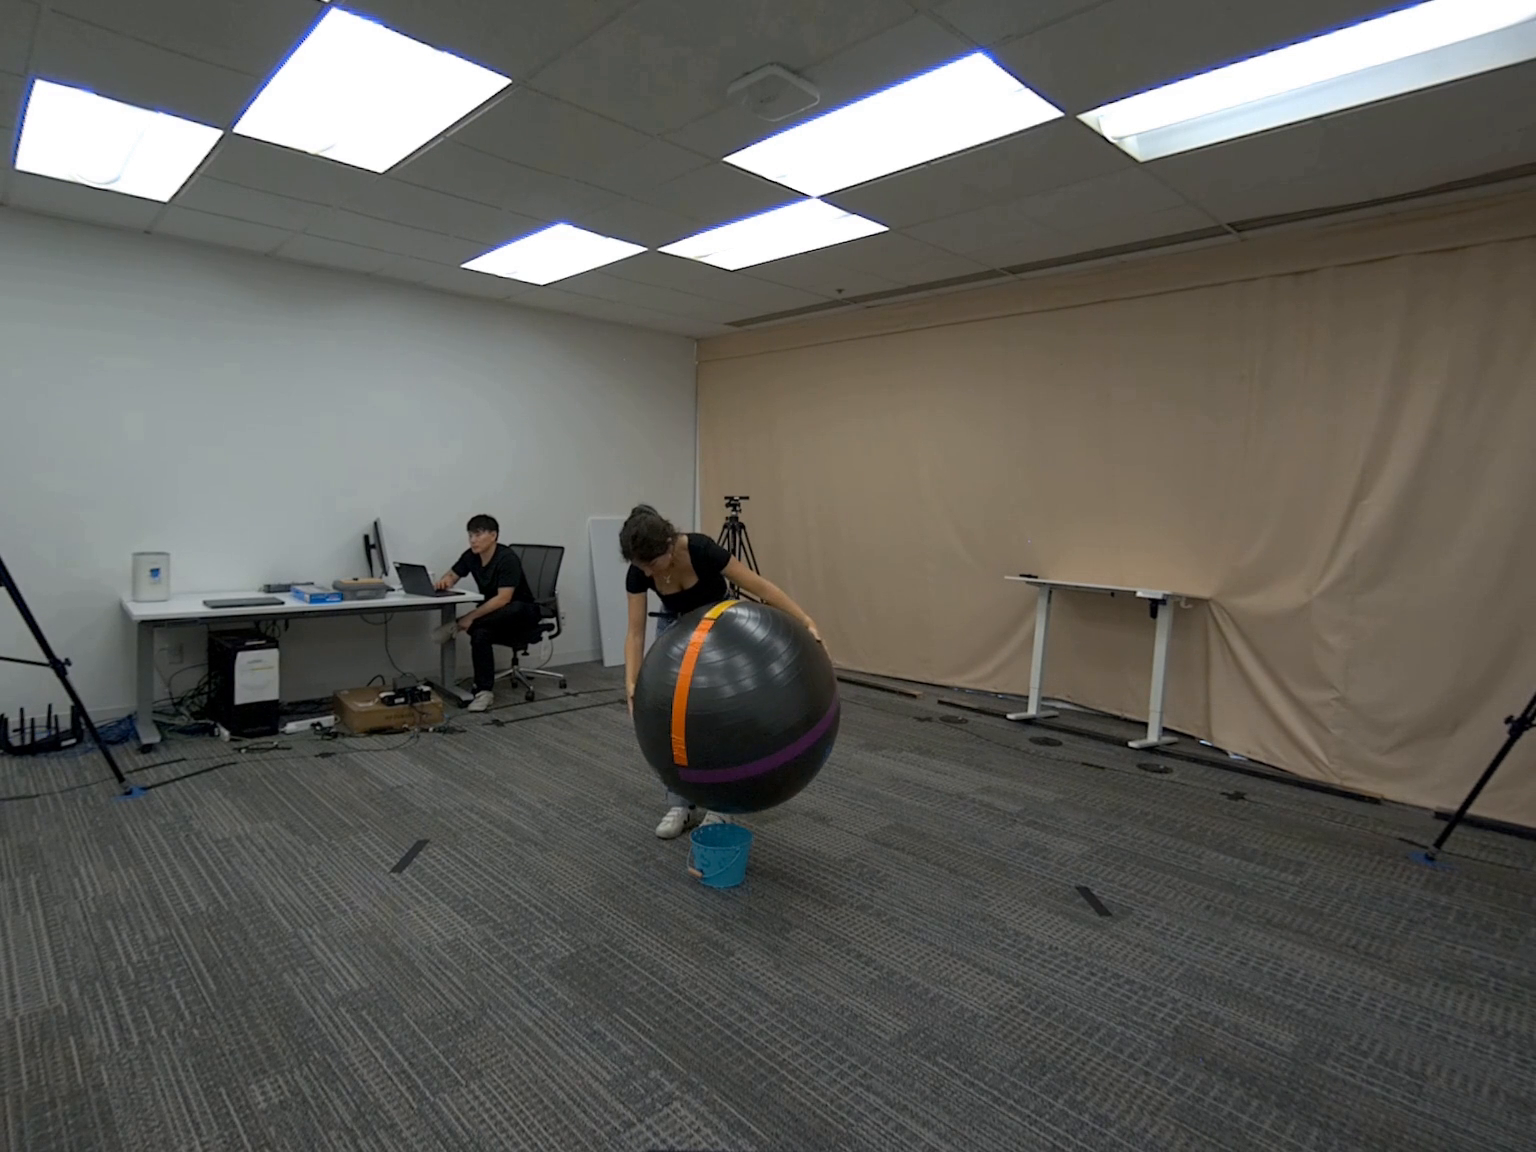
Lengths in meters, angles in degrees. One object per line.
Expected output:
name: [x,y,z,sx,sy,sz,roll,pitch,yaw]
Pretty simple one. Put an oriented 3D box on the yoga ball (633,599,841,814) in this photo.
yoga ball: [-0.113,0.475,3.057,0.757,0.756,0.761,1,4,-1]
